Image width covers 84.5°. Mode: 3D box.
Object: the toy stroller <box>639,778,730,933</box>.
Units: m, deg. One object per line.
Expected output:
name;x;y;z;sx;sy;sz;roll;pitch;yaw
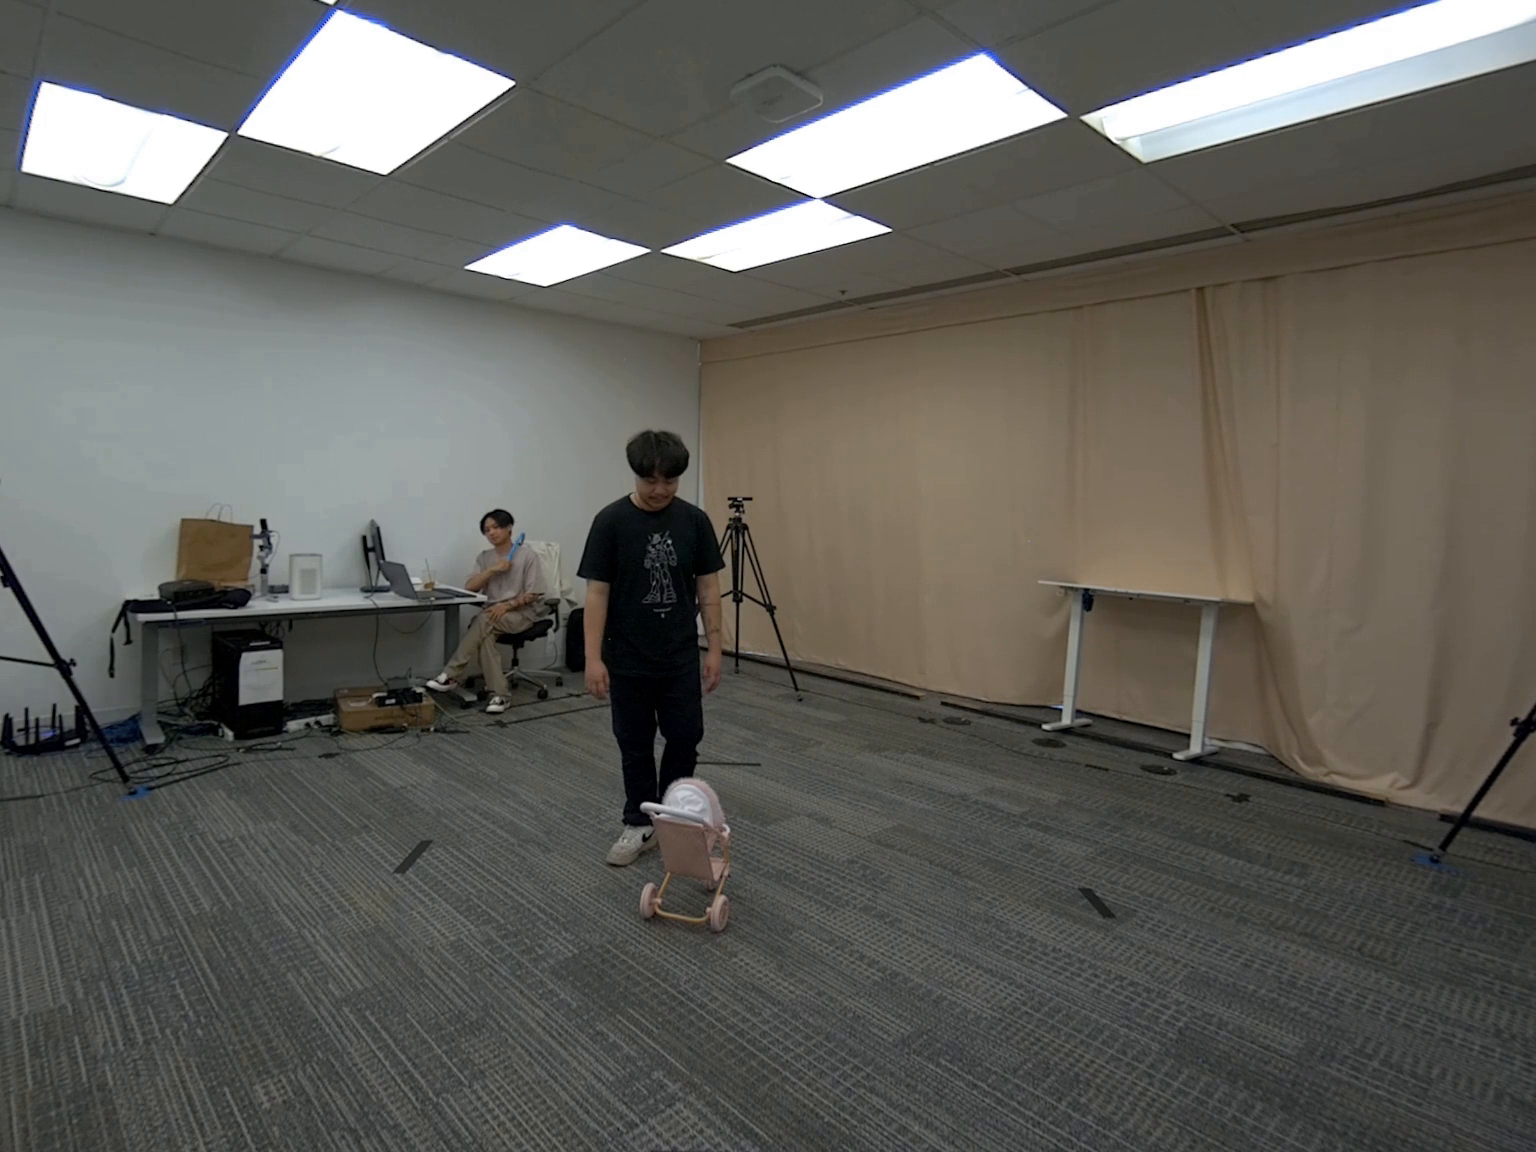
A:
toy stroller;-0.253;0.908;2.801;0.286;0.528;0.340;4;19;21
